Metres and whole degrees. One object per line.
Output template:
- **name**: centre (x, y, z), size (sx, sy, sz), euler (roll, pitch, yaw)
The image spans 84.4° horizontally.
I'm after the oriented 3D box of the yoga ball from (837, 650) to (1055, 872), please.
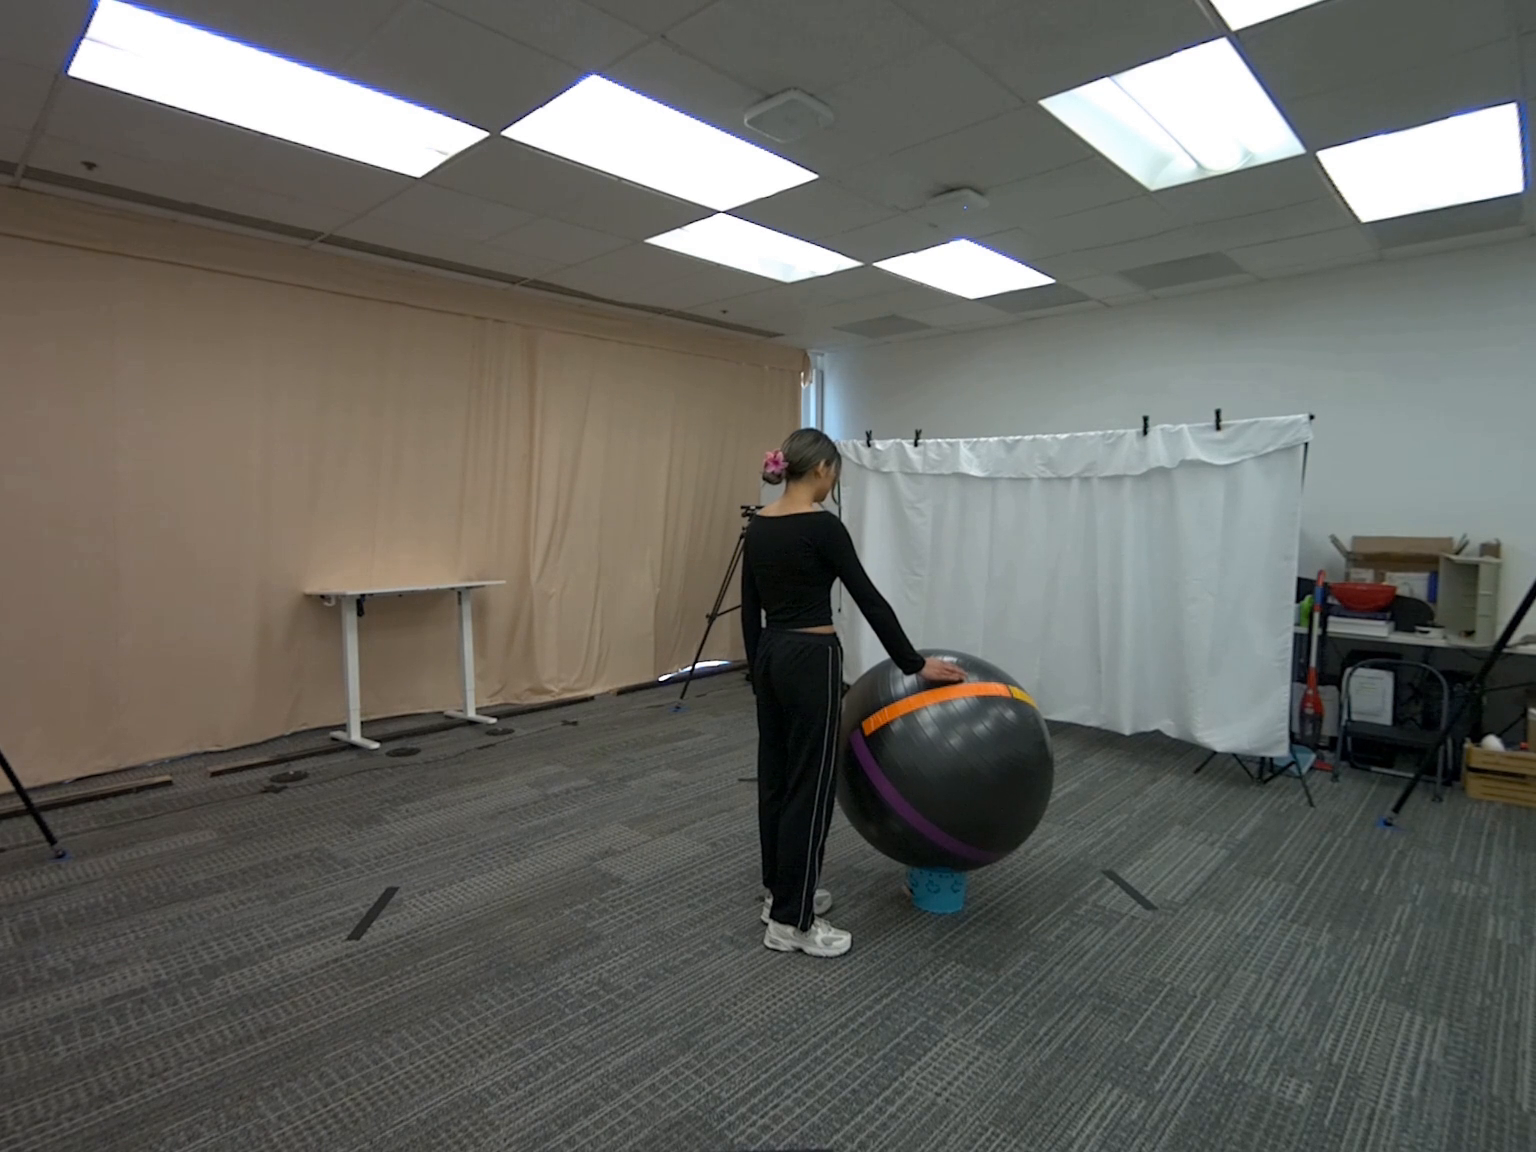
- **yoga ball**: centre (0.606, 0.635, 2.942), size (0.757, 0.756, 0.760), euler (0, 4, -2)
